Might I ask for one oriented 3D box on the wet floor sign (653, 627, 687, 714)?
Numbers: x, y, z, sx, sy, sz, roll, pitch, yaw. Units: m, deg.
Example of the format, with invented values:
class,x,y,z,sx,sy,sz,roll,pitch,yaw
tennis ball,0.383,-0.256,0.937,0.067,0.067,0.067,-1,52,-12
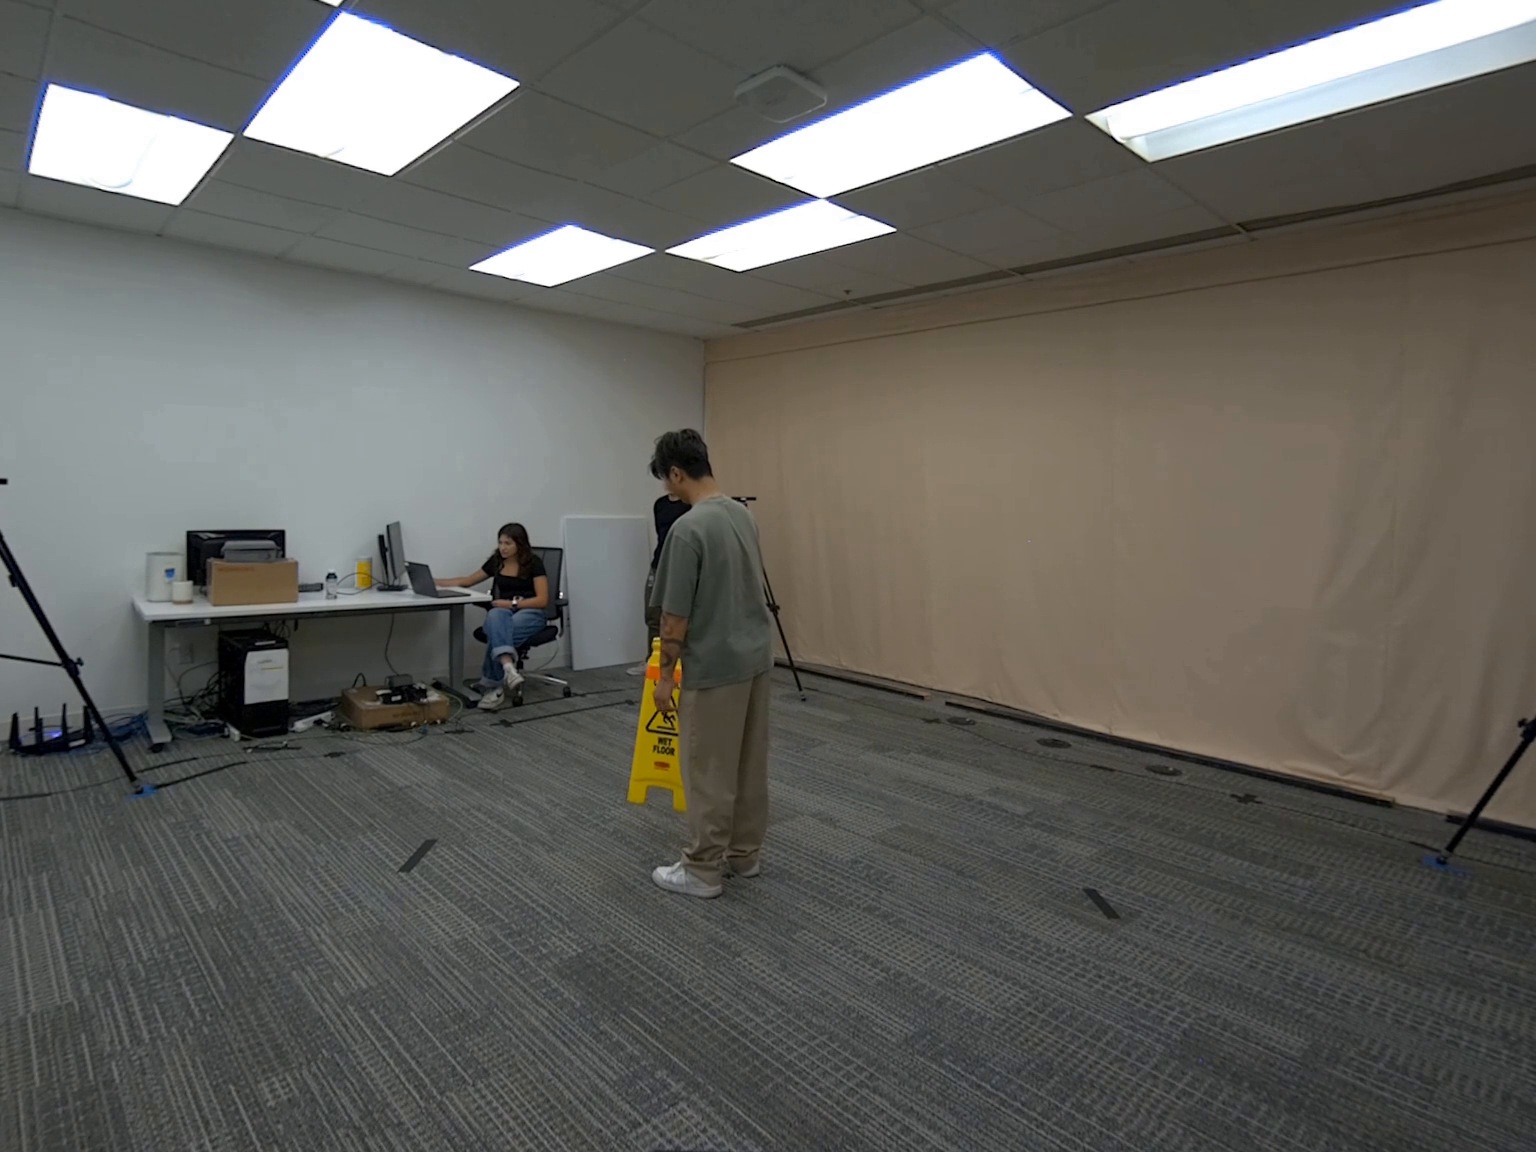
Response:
class,x,y,z,sx,sy,sz,roll,pitch,yaw
wet floor sign,-0.394,0.592,3.426,0.287,0.645,0.286,2,3,20
